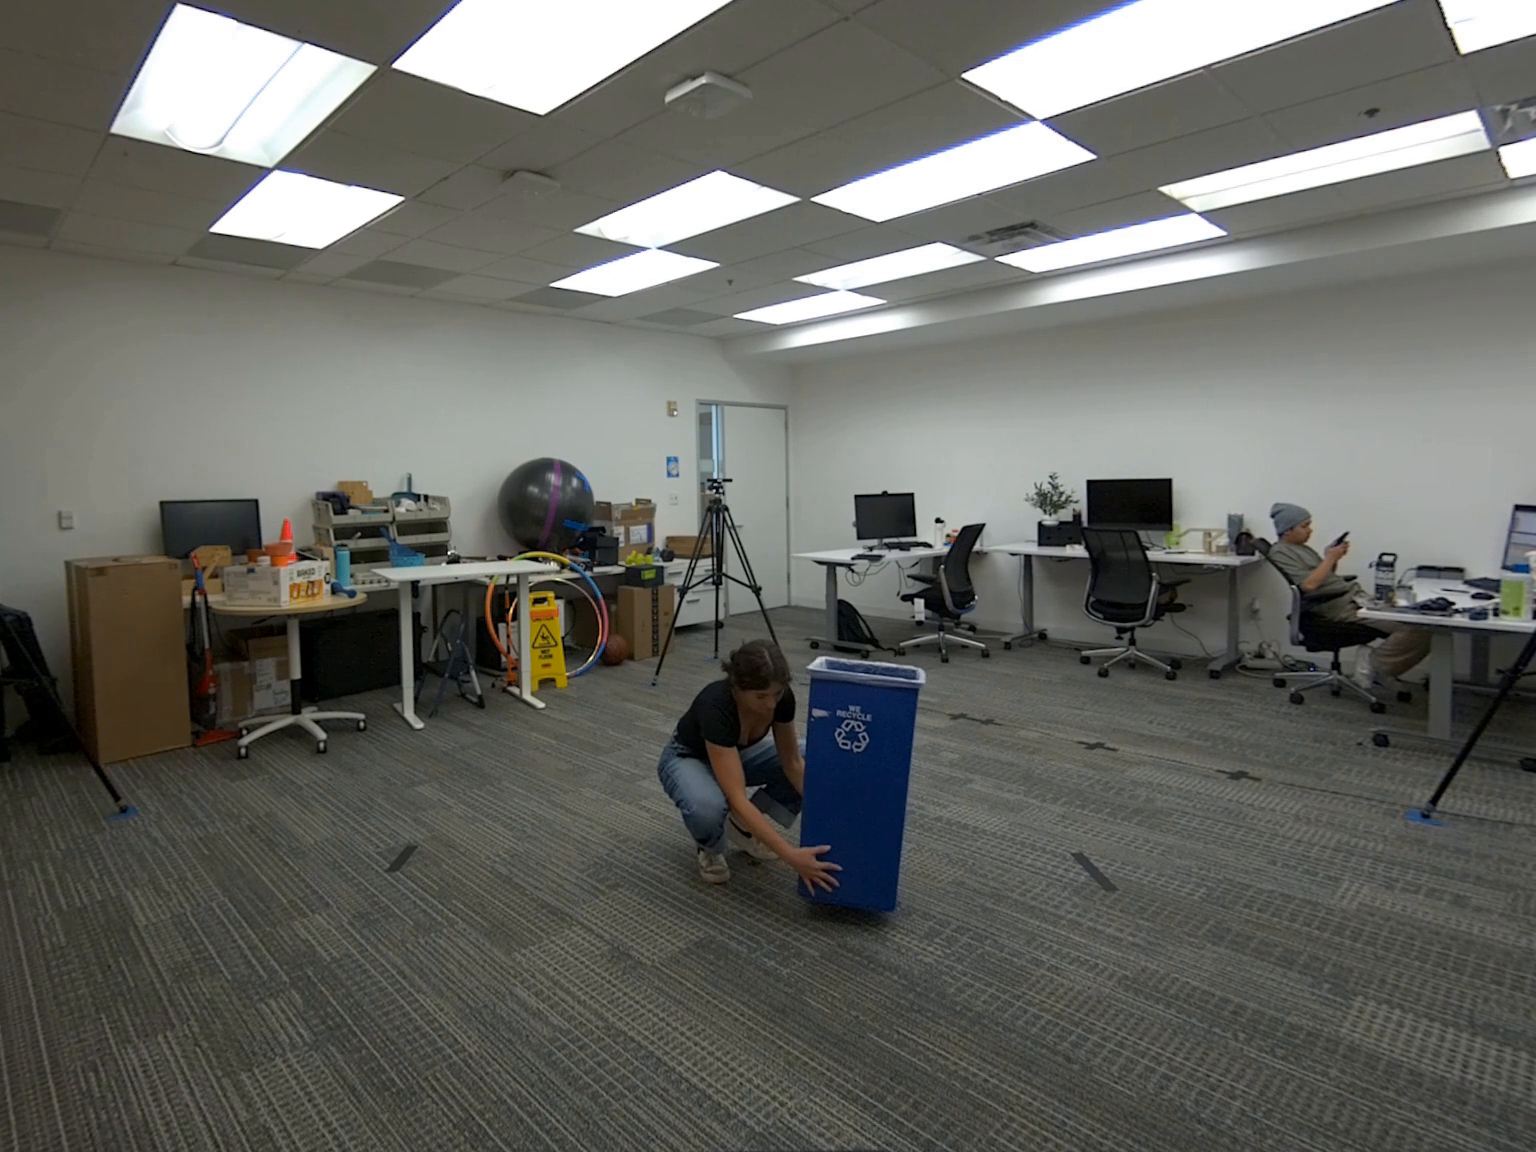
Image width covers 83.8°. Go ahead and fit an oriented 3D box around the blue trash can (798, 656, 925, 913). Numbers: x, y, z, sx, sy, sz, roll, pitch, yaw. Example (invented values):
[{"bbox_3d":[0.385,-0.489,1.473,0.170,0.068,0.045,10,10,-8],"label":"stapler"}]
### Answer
[{"bbox_3d":[0.307,0.657,2.780,0.378,0.714,0.374,4,0,10],"label":"blue trash can"}]
